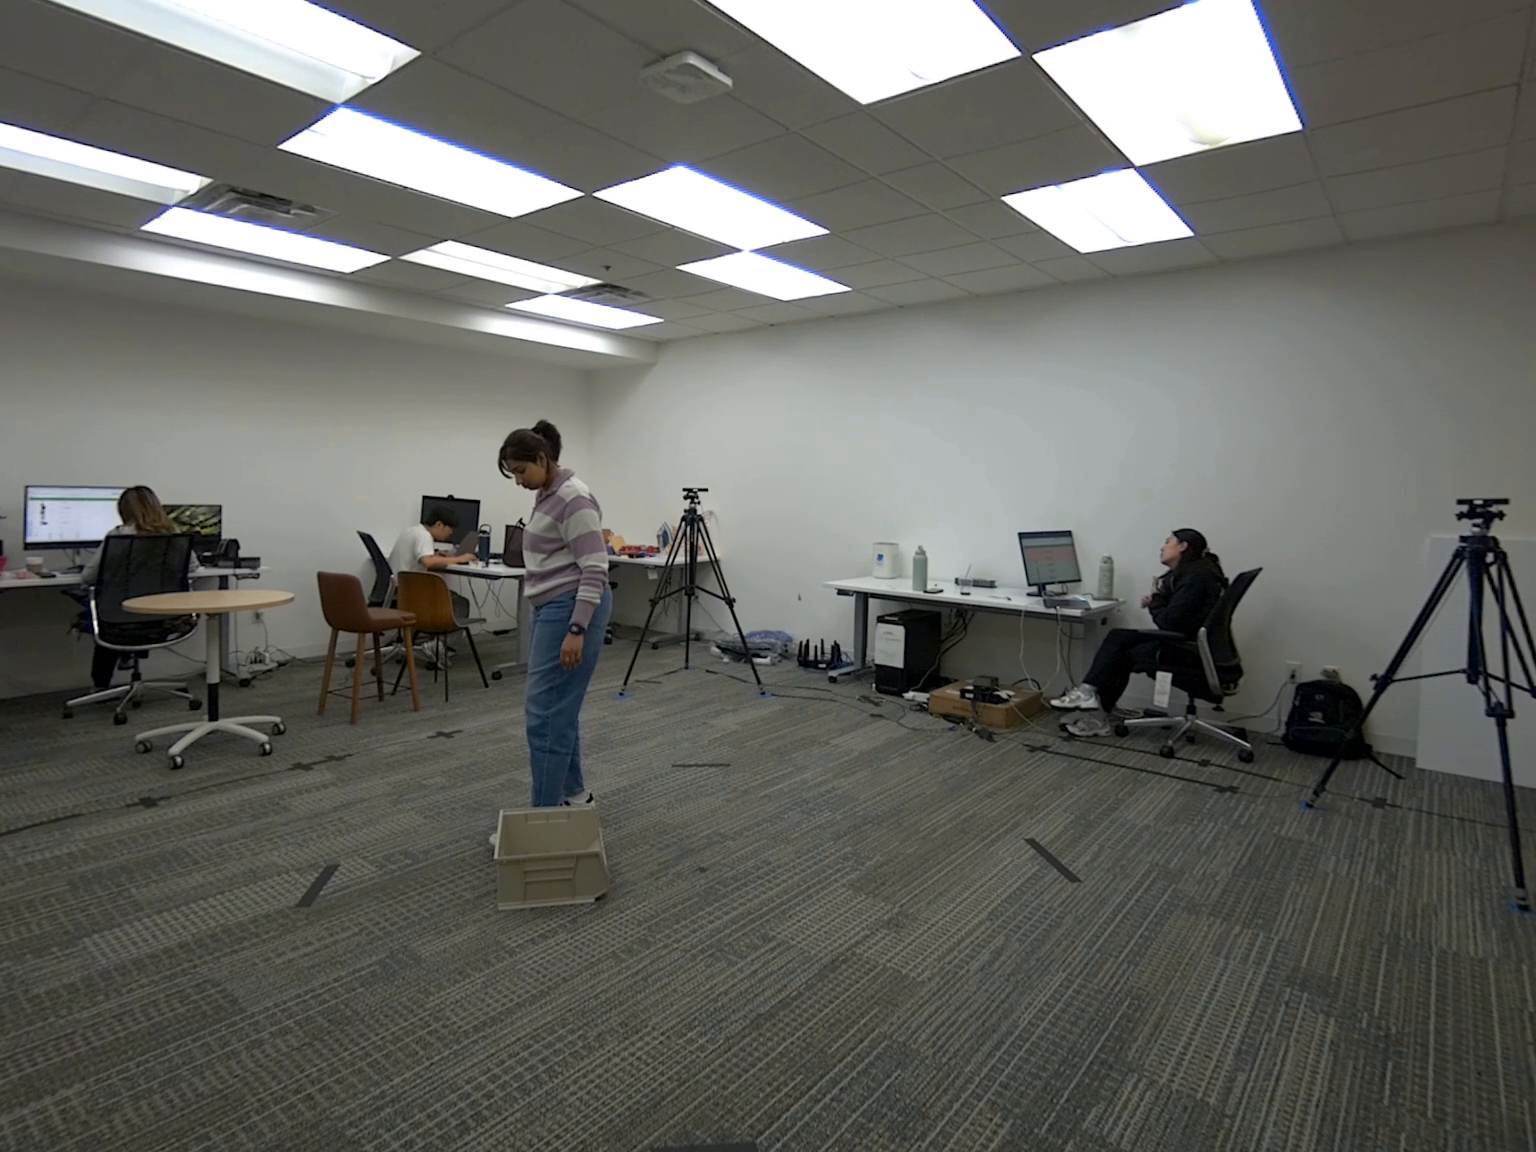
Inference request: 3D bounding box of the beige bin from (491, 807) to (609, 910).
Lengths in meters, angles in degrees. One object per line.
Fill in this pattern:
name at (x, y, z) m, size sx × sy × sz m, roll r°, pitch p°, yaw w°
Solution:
beige bin at (-0.771, 0.984, 3.011) m, size 0.372 × 0.188 × 0.430 m, roll -1°, pitch 6°, yaw -14°
